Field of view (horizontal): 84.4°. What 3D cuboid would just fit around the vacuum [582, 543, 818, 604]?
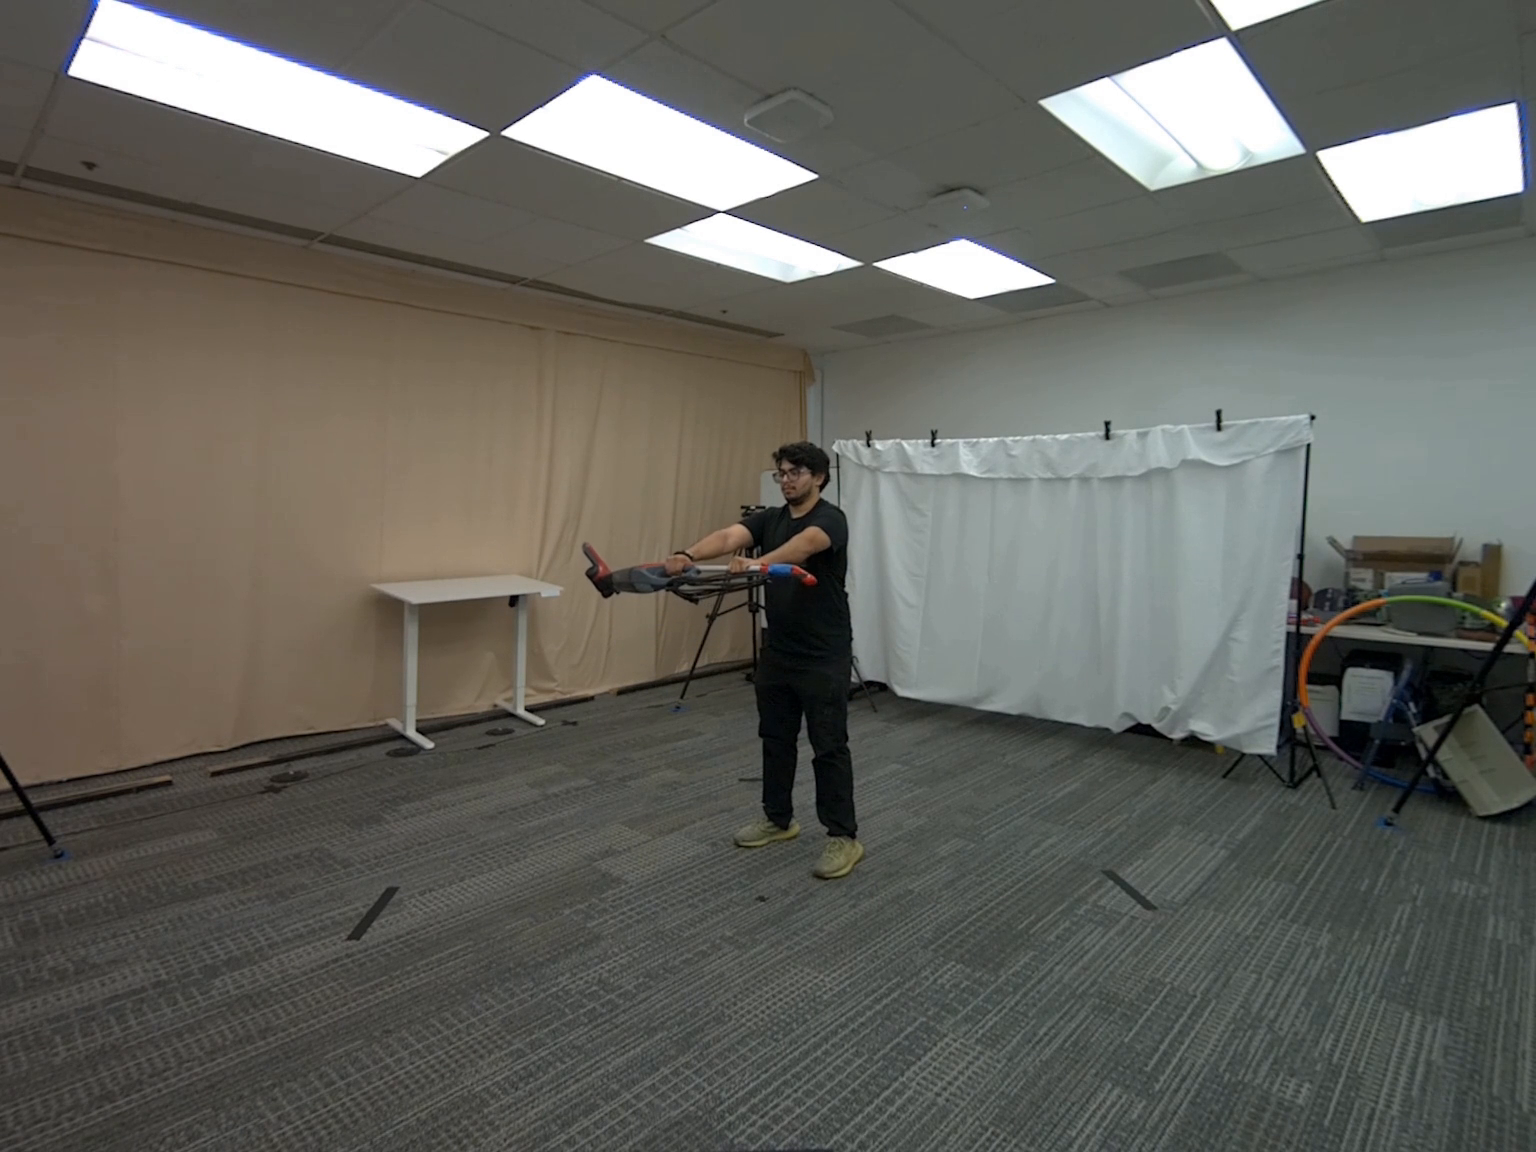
[{"bbox_3d":[-0.265,0.010,2.950,1.084,0.144,0.244,2,-37,42],"label":"vacuum"}]
